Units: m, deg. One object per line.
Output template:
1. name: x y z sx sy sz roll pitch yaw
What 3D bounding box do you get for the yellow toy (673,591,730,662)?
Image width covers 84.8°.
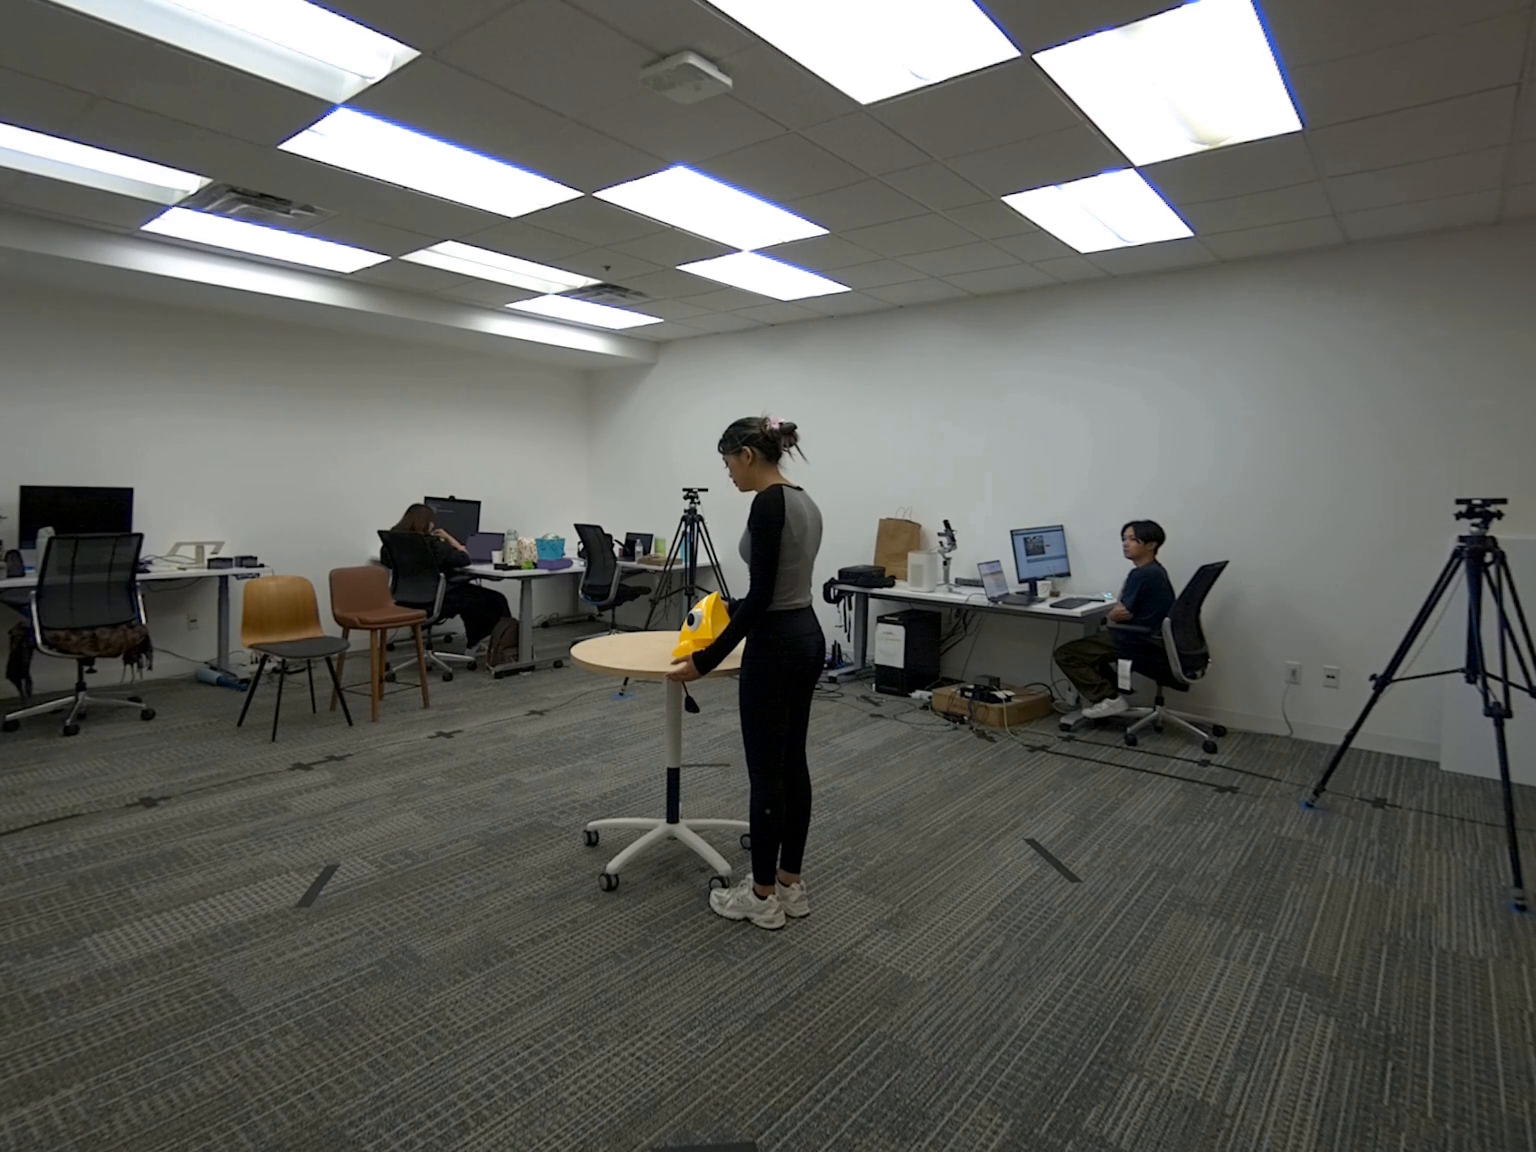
1. yellow toy: -0.254 0.166 3.072 0.198 0.230 0.200 3 4 22
